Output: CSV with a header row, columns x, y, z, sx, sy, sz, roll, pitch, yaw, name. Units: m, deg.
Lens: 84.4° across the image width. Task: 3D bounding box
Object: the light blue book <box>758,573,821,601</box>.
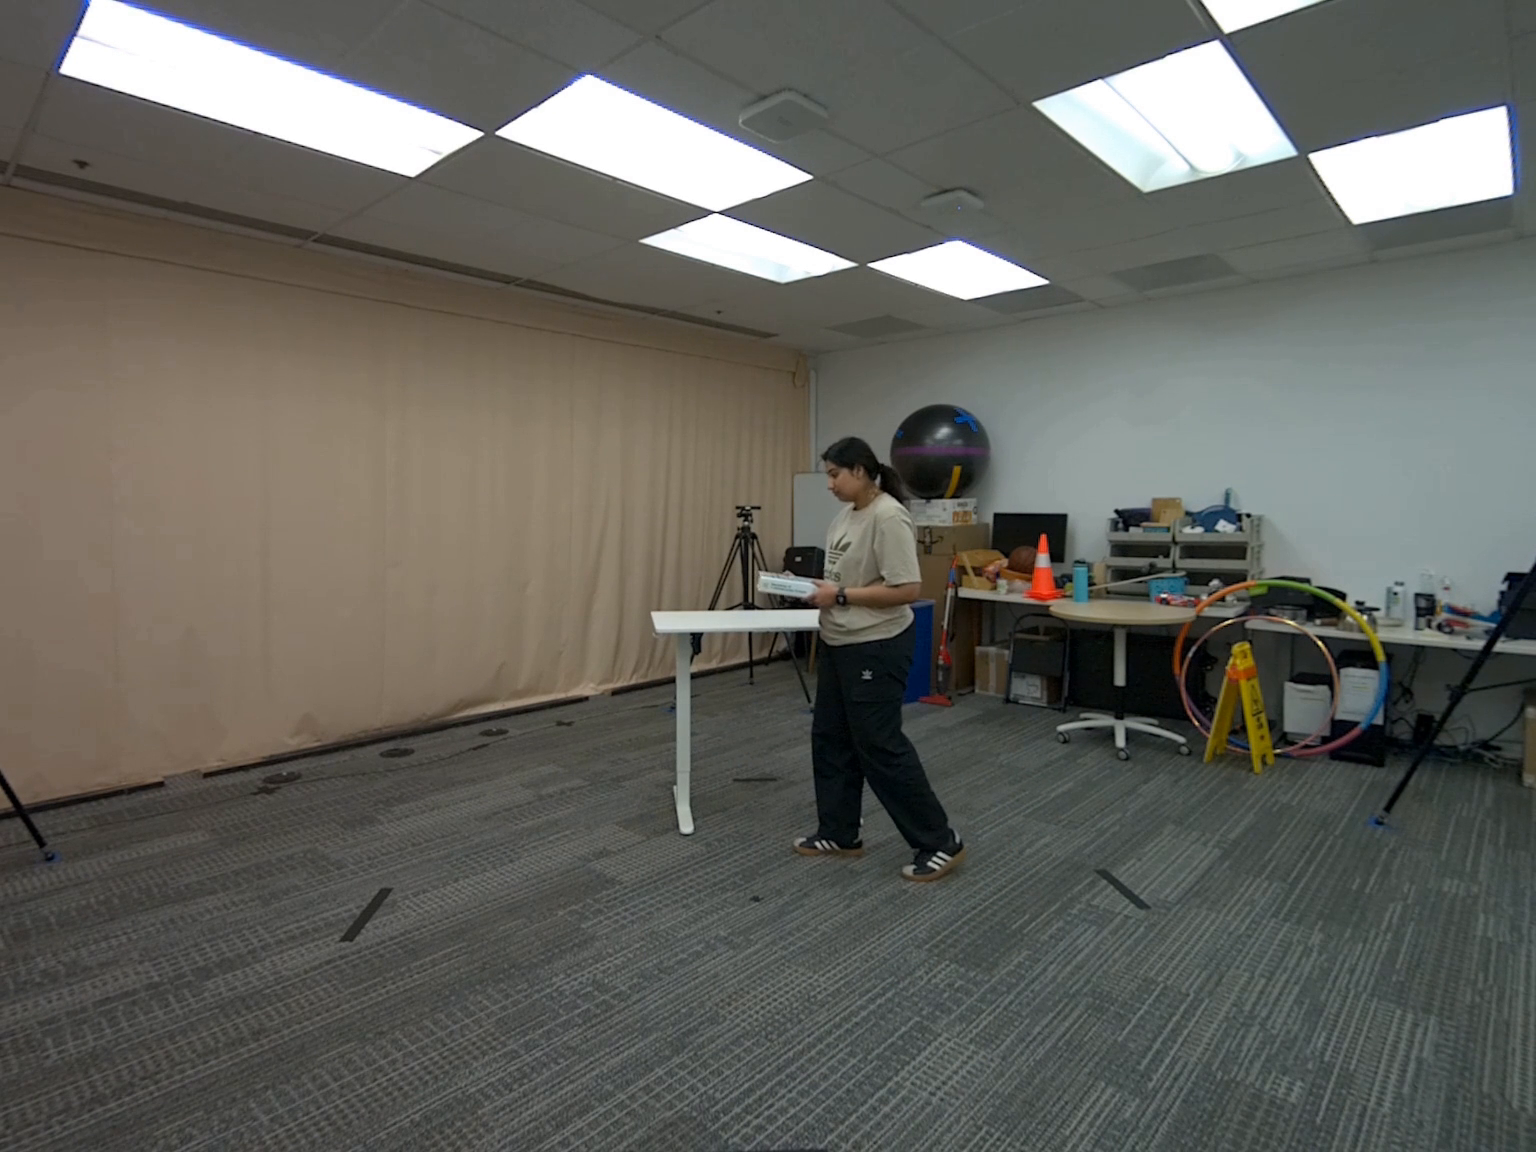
x,y,z,sx,sy,sz,roll,pitch,yaw,name
0.116,0.044,3.253,0.185,0.059,0.269,5,5,-33,light blue book
